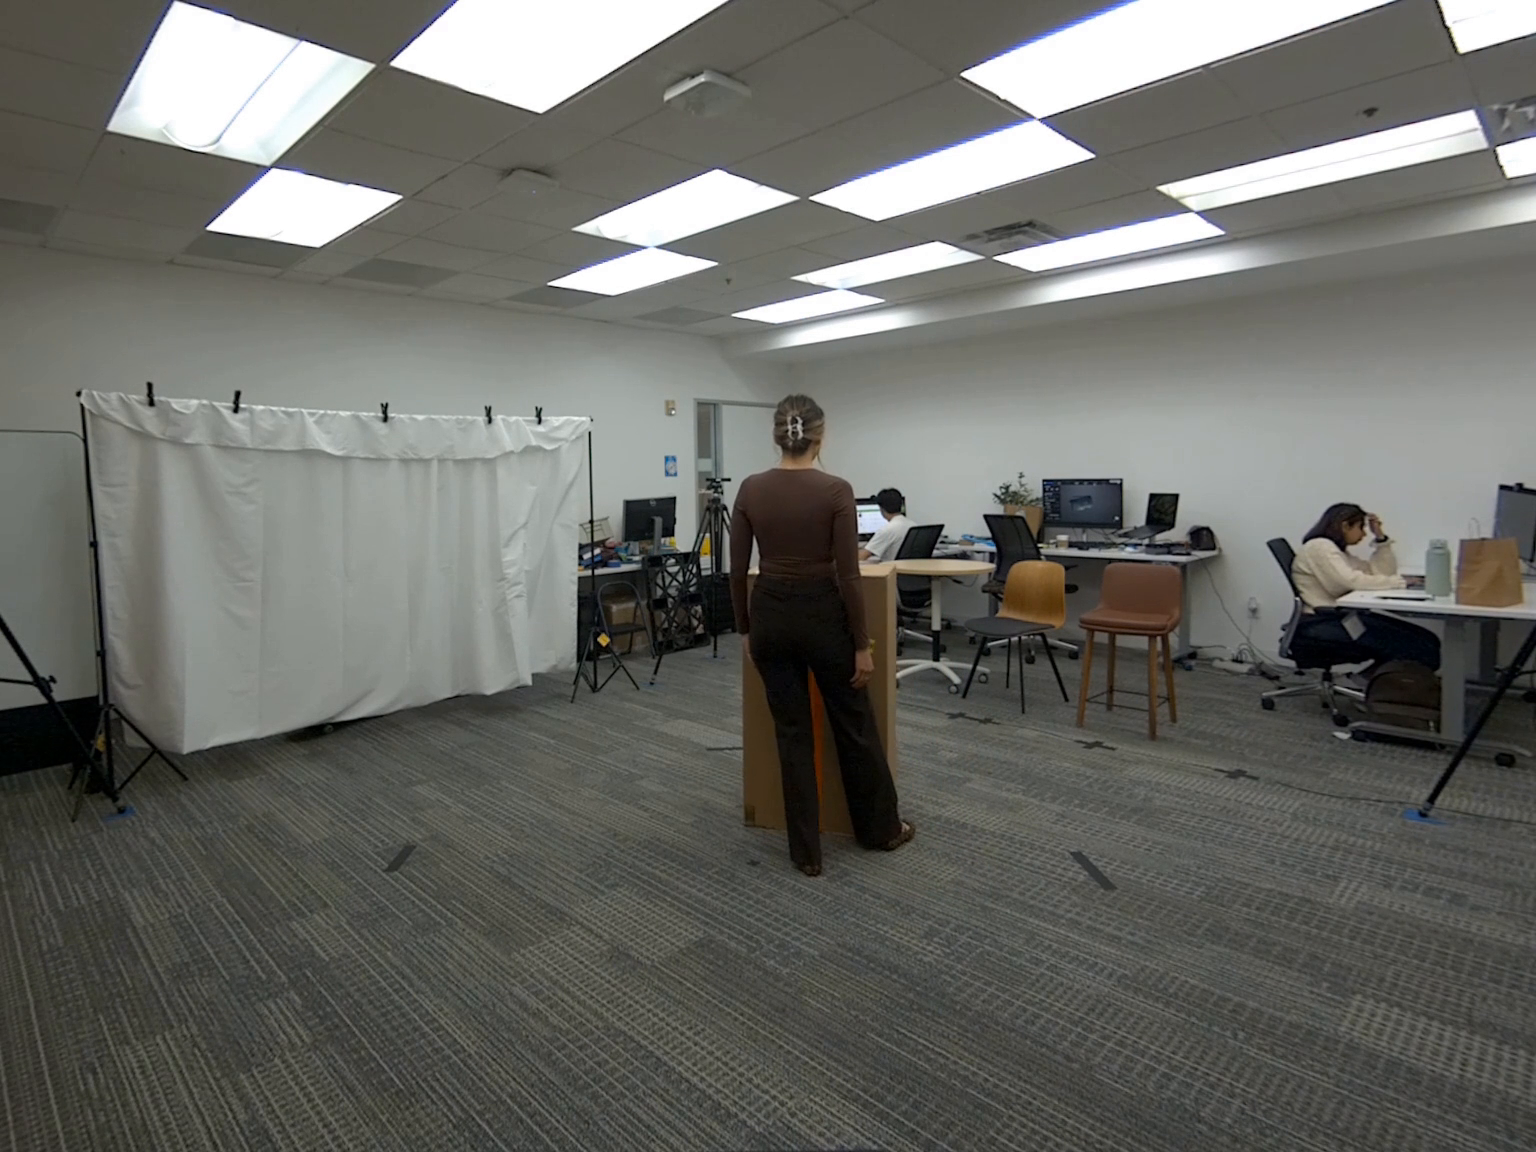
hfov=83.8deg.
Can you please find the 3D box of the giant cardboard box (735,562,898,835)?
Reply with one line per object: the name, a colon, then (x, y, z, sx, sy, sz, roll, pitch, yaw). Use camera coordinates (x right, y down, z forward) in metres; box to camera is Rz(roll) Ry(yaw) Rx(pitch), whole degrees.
giant cardboard box: (0.219, 0.476, 3.537, 0.593, 1.023, 0.442, 1, 5, 15)
